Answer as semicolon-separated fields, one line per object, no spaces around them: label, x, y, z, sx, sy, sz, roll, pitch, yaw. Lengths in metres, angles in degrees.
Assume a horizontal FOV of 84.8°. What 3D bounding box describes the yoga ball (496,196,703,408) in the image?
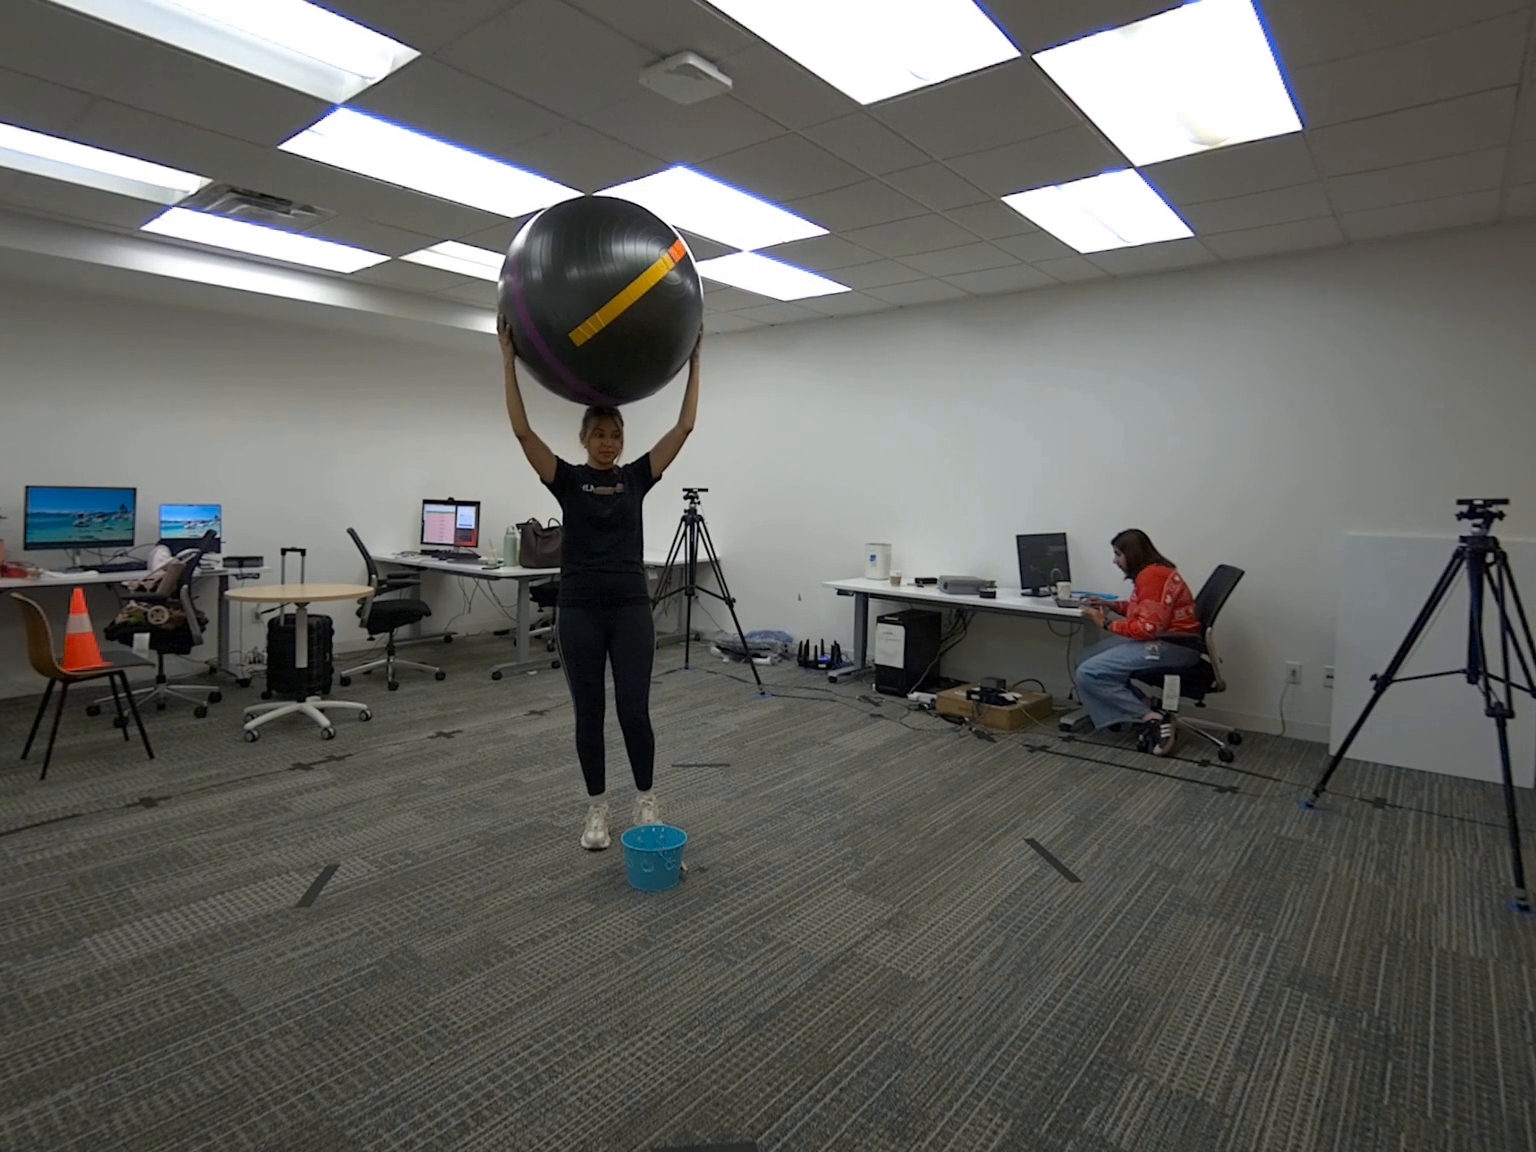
yoga ball;-0.625;-1.009;3.156;0.757;0.755;0.762;1;4;-2
